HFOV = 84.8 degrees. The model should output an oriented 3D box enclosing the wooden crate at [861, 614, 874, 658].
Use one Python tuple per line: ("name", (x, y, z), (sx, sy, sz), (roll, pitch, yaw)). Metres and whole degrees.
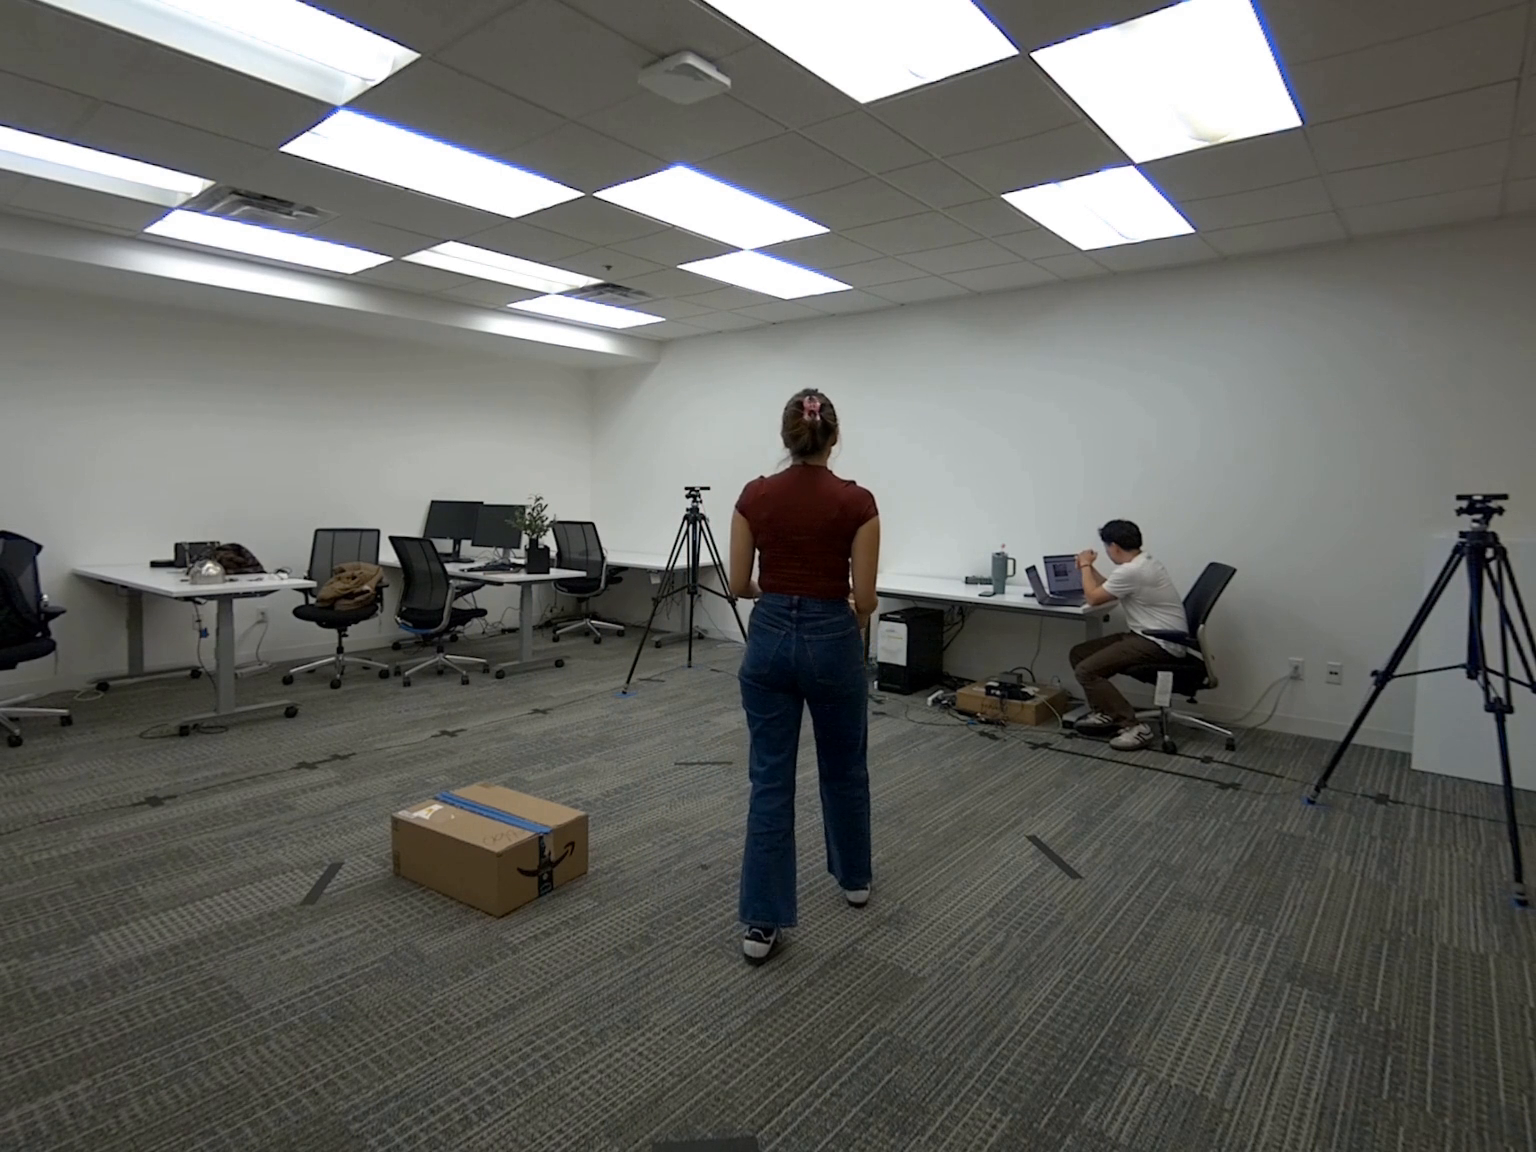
("wooden crate", (0.166, 0.175, 2.965), (0.331, 0.273, 0.297), (9, 2, 15))
